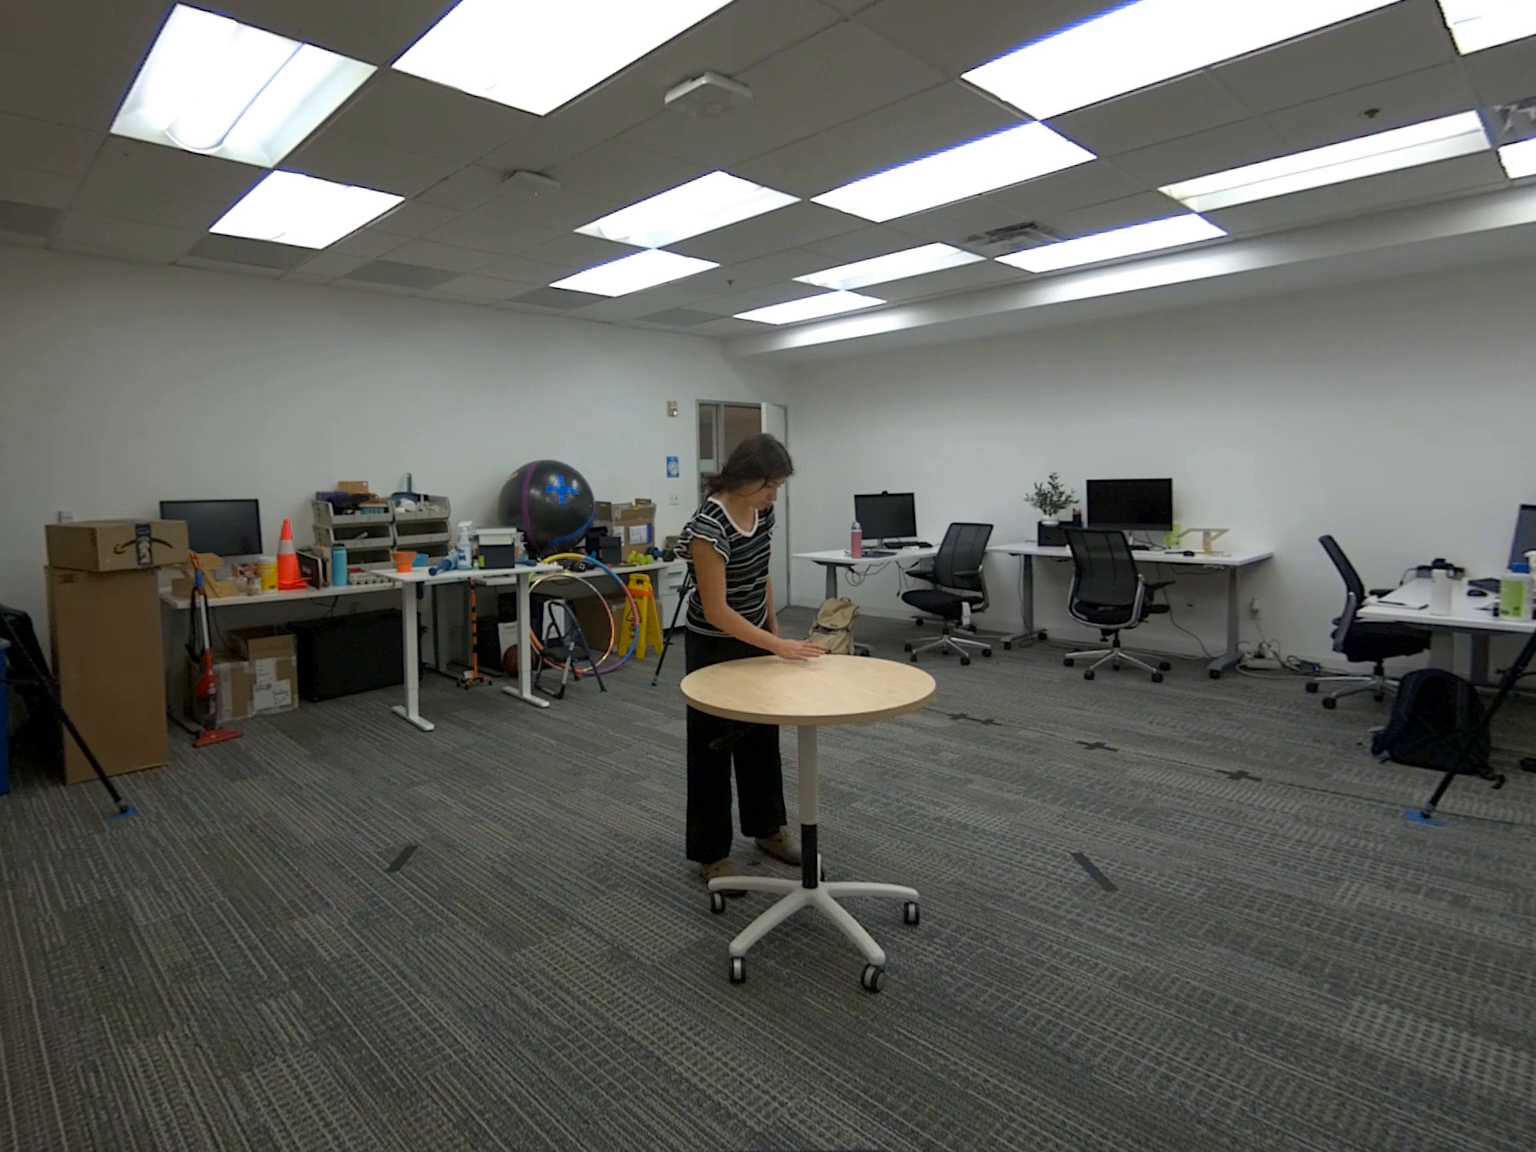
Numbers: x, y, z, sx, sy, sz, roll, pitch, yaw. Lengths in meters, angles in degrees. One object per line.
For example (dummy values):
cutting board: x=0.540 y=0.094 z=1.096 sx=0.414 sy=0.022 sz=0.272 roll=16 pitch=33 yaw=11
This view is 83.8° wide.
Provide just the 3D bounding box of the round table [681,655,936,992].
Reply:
round table: x=0.136 y=0.711 z=2.614 sx=0.763 sy=0.791 sz=0.768 roll=-2 pitch=5 yaw=-2
